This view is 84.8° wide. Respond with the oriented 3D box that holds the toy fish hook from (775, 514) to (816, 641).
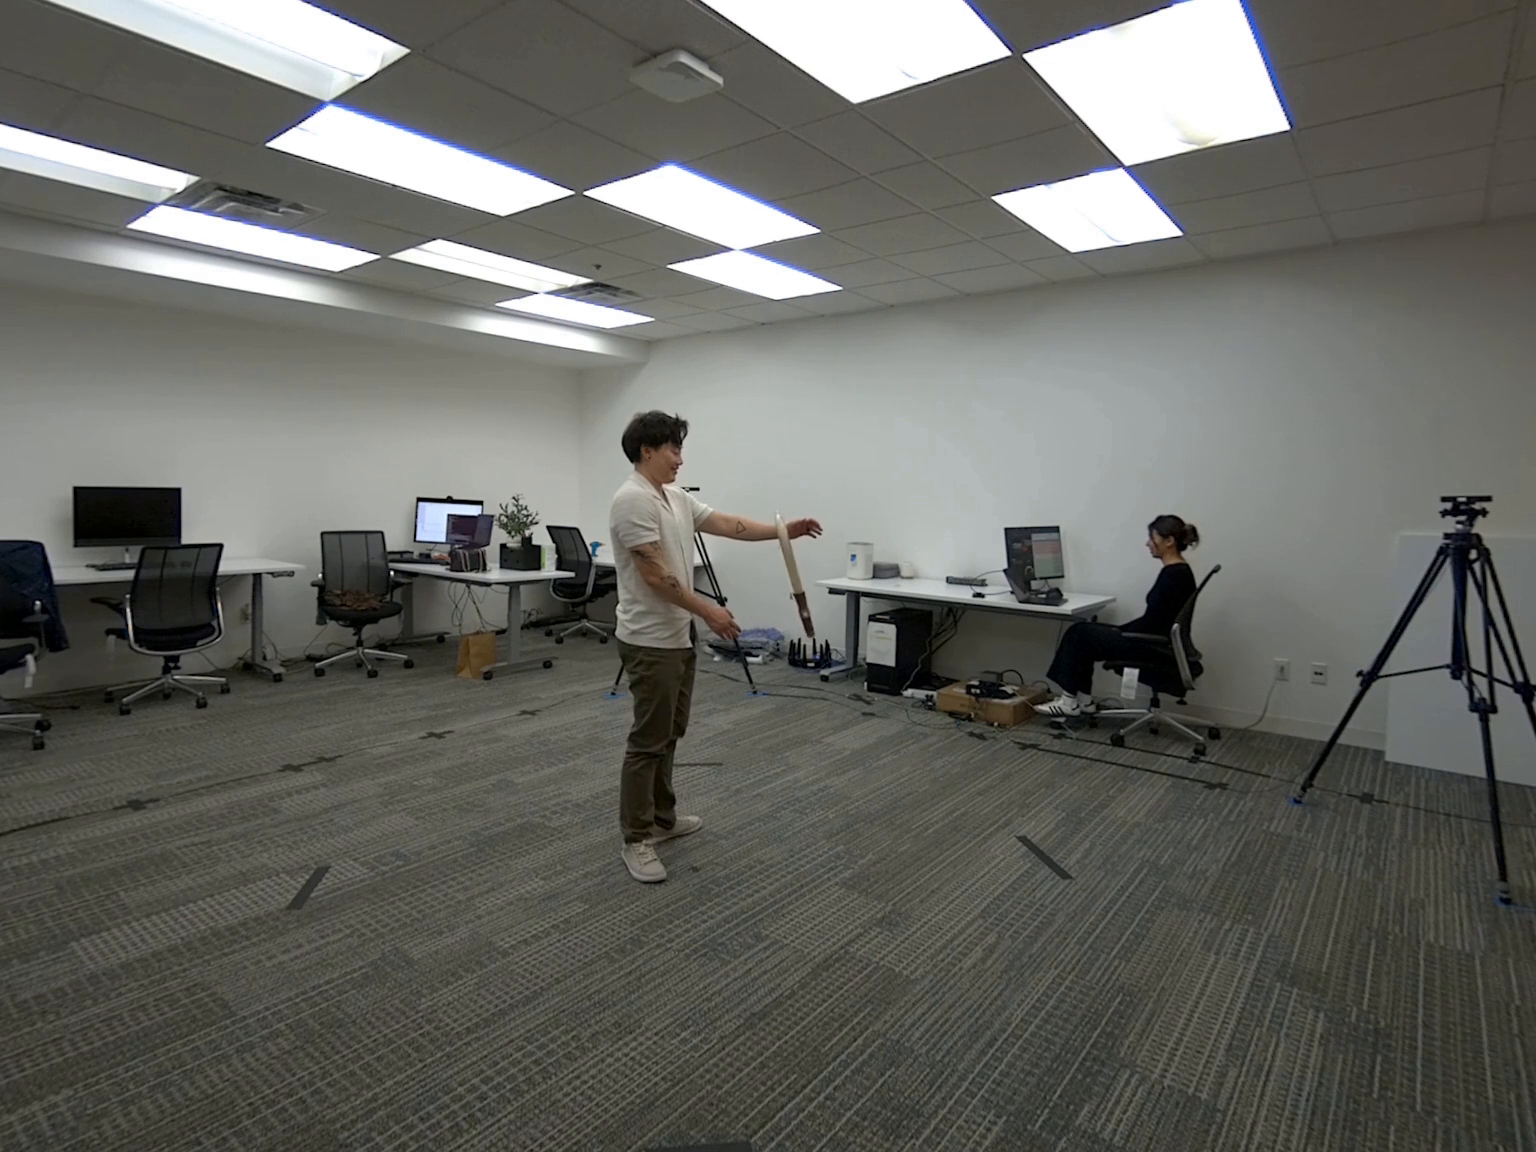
[{"bbox_3d":[0.090,-0.002,3.283,0.048,0.497,0.228,-13,16,5],"label":"toy fish hook"}]
